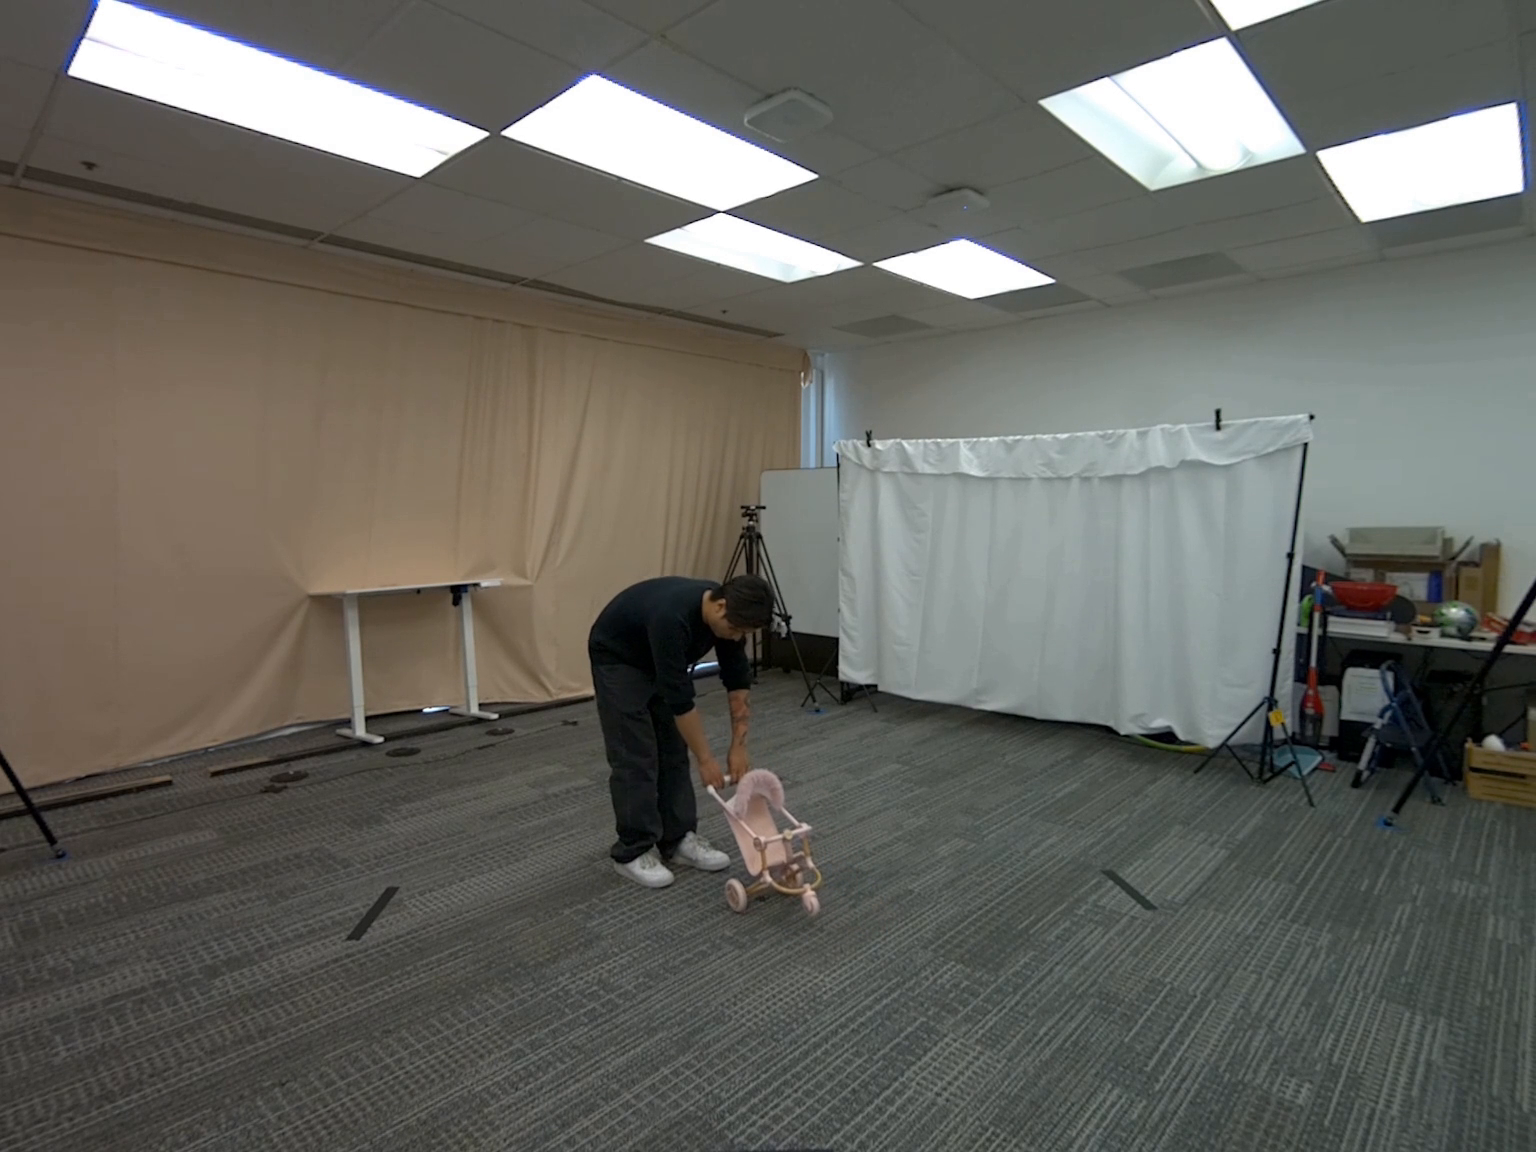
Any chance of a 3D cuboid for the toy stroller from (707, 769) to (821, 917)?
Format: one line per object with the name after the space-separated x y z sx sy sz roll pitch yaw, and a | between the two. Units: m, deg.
0.004 0.916 2.927 0.274 0.544 0.345 -3 -24 -33 | toy stroller
